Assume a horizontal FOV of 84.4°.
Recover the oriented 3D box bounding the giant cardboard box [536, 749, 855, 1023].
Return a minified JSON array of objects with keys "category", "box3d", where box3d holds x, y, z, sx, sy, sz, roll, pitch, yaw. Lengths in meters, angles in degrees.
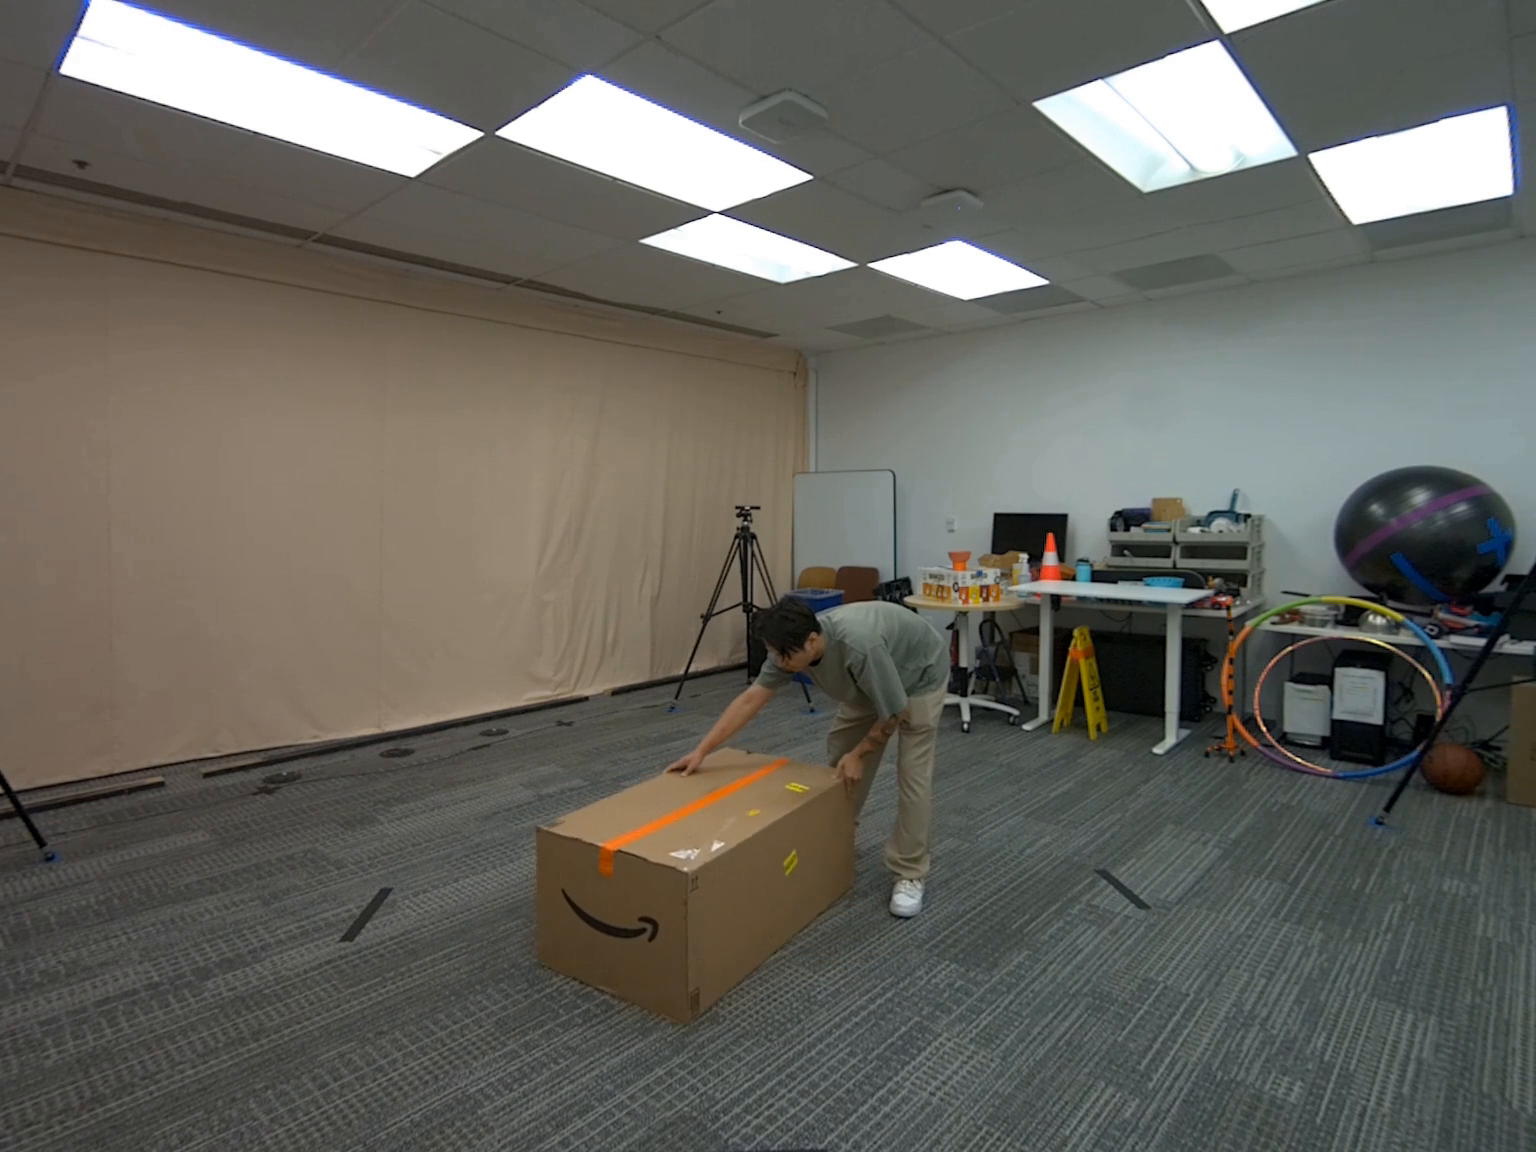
[{"category":"giant cardboard box","box3d":[-0.196,0.946,2.812,0.595,0.425,0.997,2,5,32]}]
